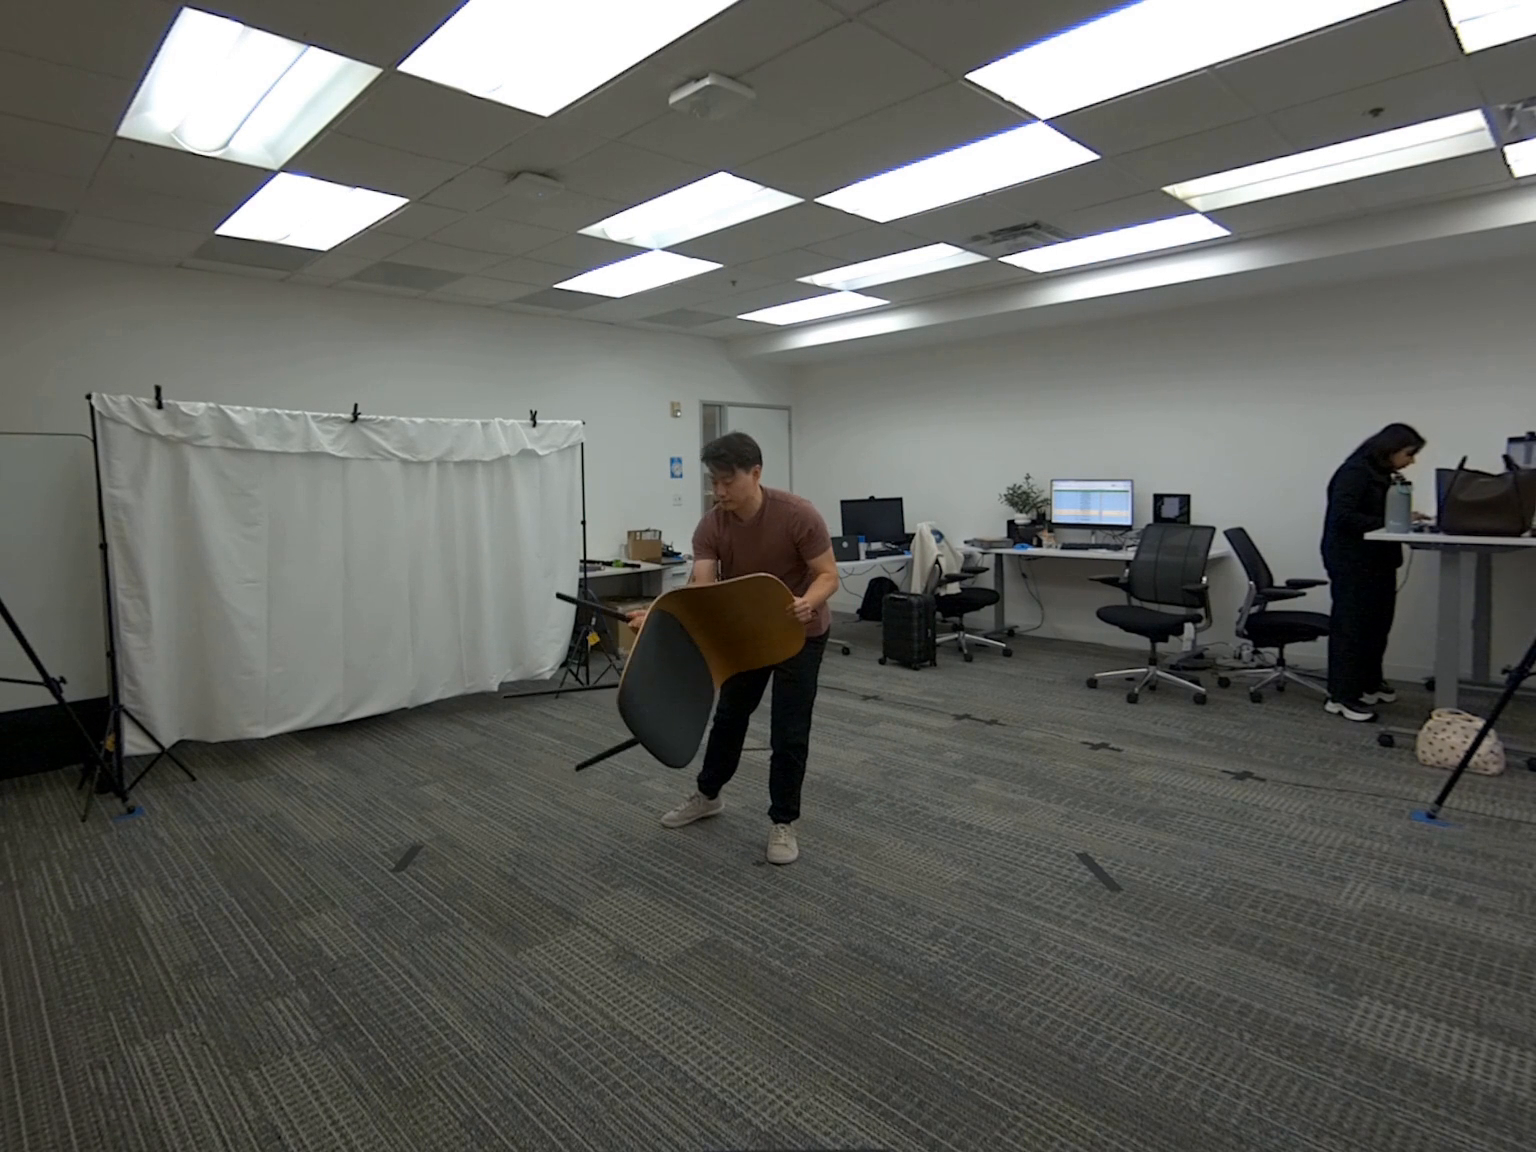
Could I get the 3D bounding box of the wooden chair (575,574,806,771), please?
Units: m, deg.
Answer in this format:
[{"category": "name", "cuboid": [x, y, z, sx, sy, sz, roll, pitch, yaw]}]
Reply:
[{"category": "wooden chair", "cuboid": [-0.346, 0.339, 2.838, 0.893, 0.461, 0.533, -12, 41, 25]}]
